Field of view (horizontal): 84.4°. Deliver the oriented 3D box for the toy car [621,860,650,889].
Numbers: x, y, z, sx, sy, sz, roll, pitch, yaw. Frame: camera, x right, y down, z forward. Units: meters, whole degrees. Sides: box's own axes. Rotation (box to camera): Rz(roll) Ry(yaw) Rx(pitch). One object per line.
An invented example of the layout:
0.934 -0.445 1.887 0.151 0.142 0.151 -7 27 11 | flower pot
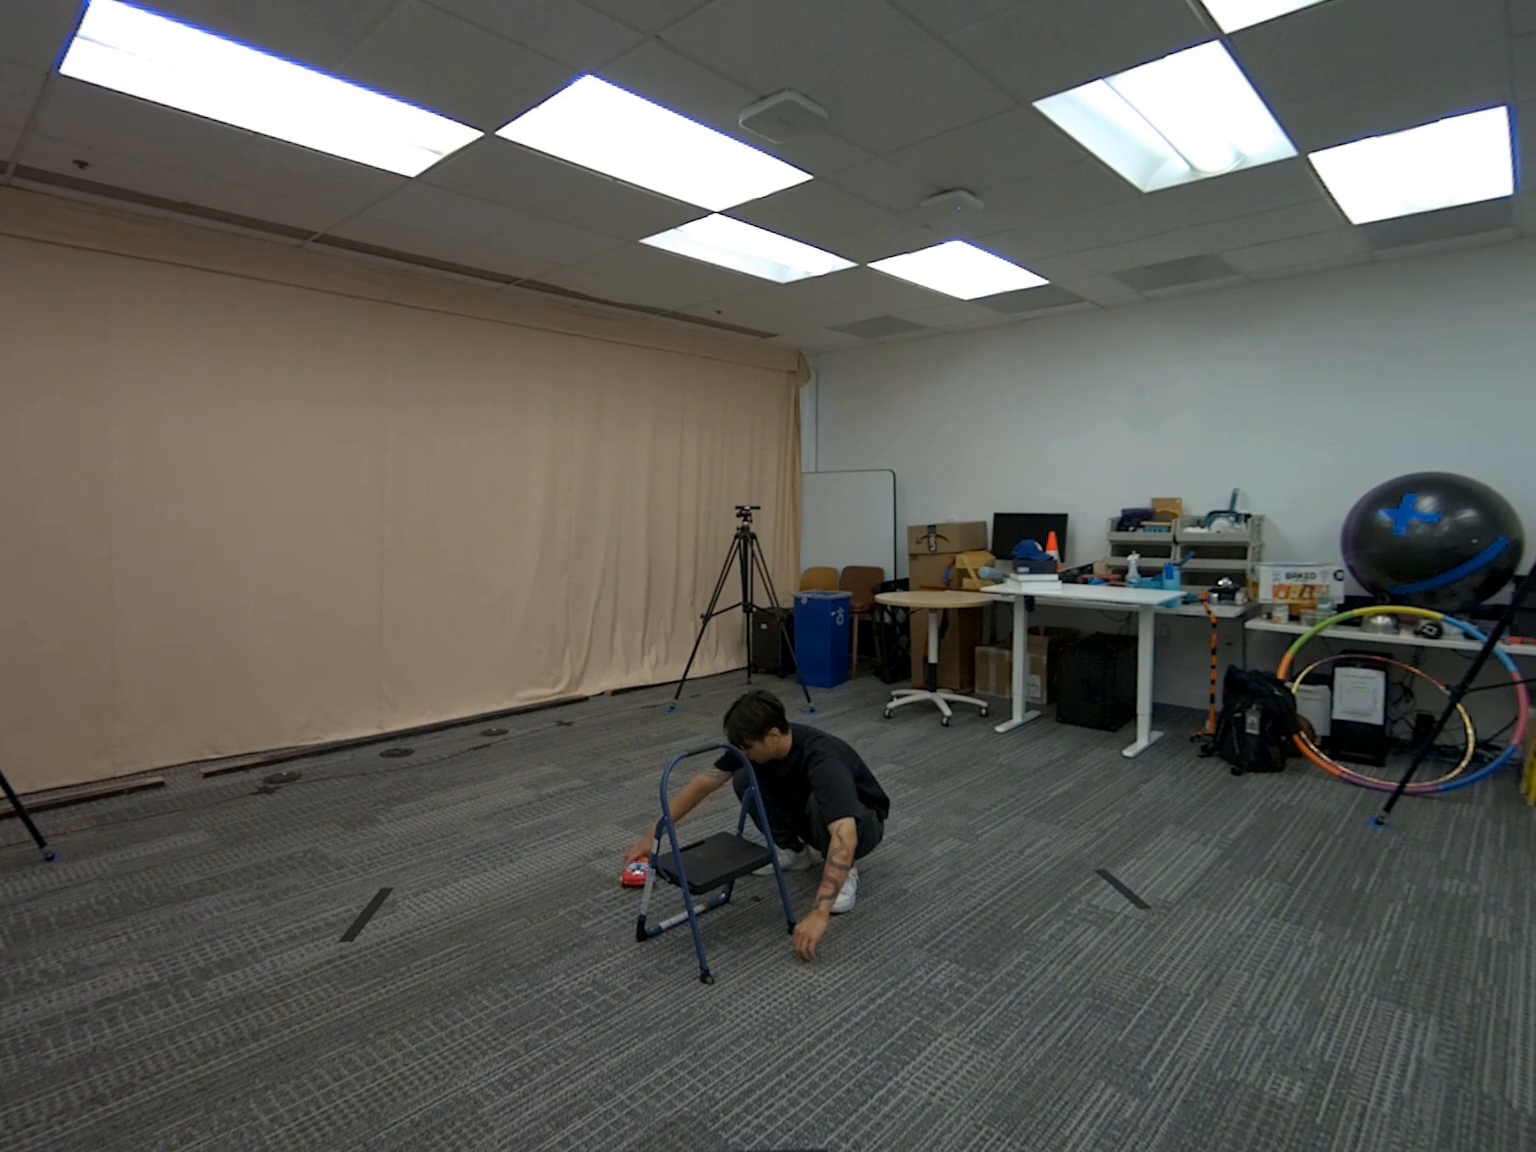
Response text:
-0.478 1.102 3.190 0.130 0.082 0.257 -3 16 0 | toy car
